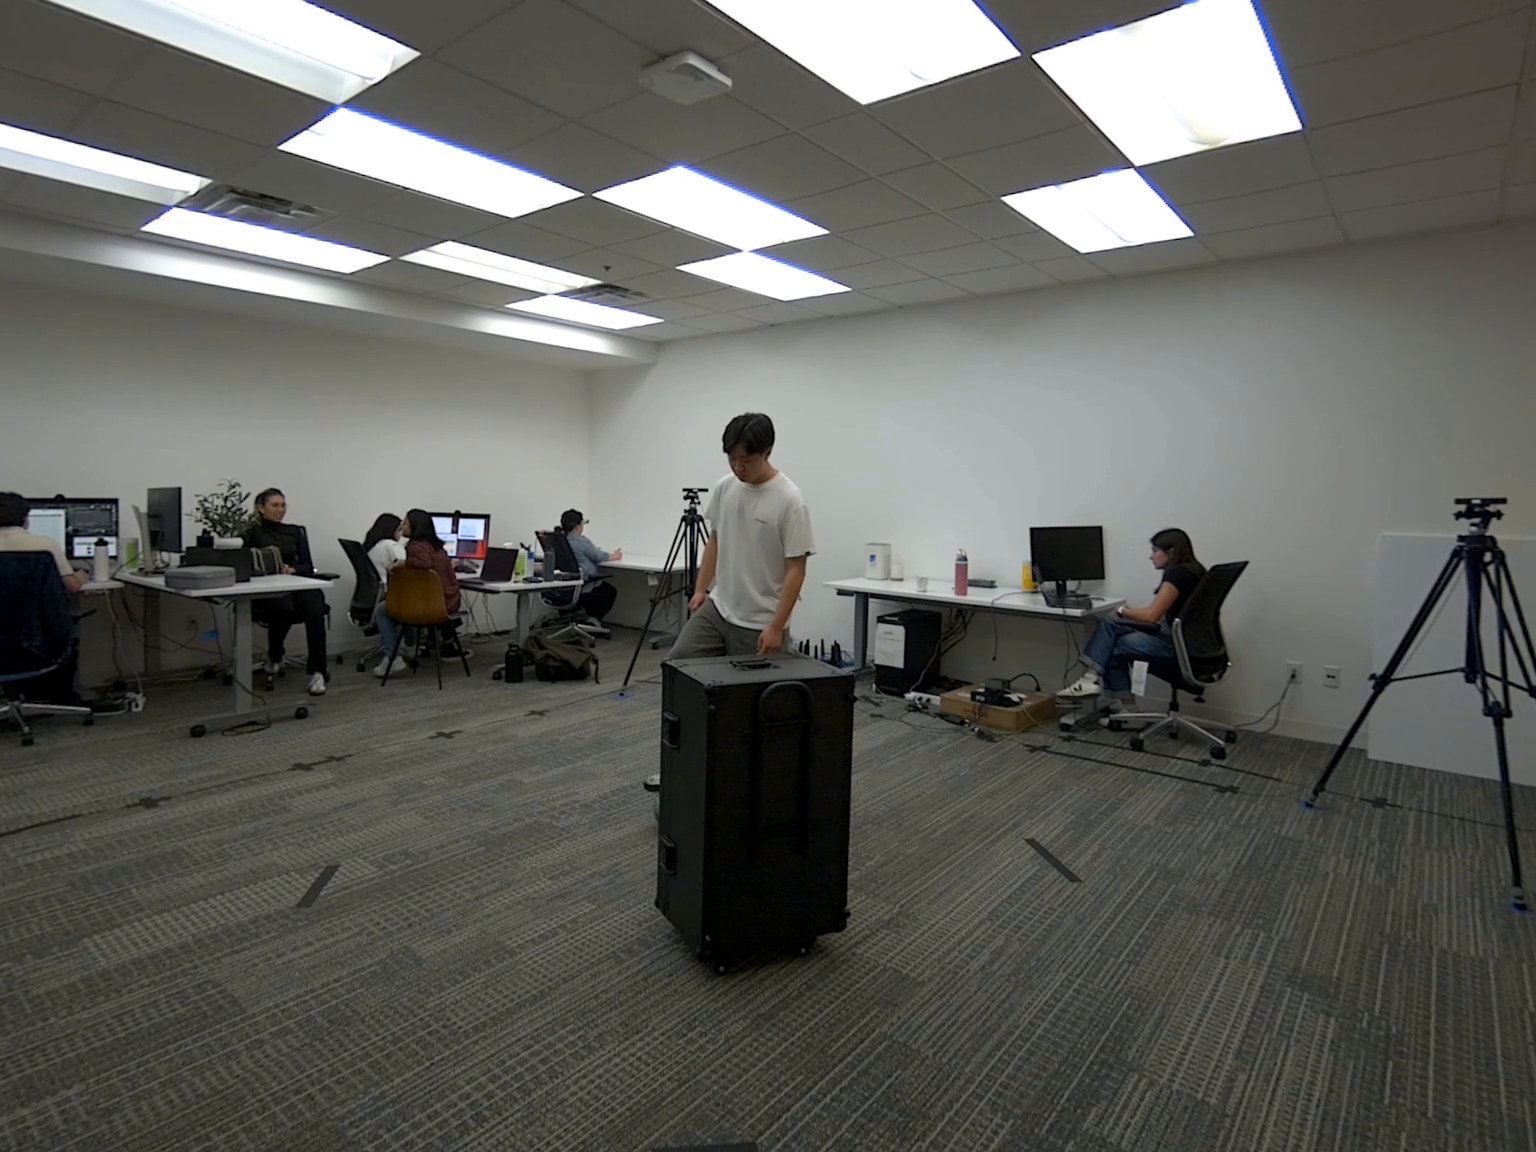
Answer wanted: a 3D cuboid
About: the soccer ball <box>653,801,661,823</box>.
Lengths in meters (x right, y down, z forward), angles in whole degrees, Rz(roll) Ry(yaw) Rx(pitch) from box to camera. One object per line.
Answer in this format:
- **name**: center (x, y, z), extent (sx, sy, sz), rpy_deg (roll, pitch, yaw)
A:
- **soccer ball**: center (-0.358, 0.928, 3.456), extent (0.187, 0.187, 0.188), rpy_deg (1, 4, -2)
